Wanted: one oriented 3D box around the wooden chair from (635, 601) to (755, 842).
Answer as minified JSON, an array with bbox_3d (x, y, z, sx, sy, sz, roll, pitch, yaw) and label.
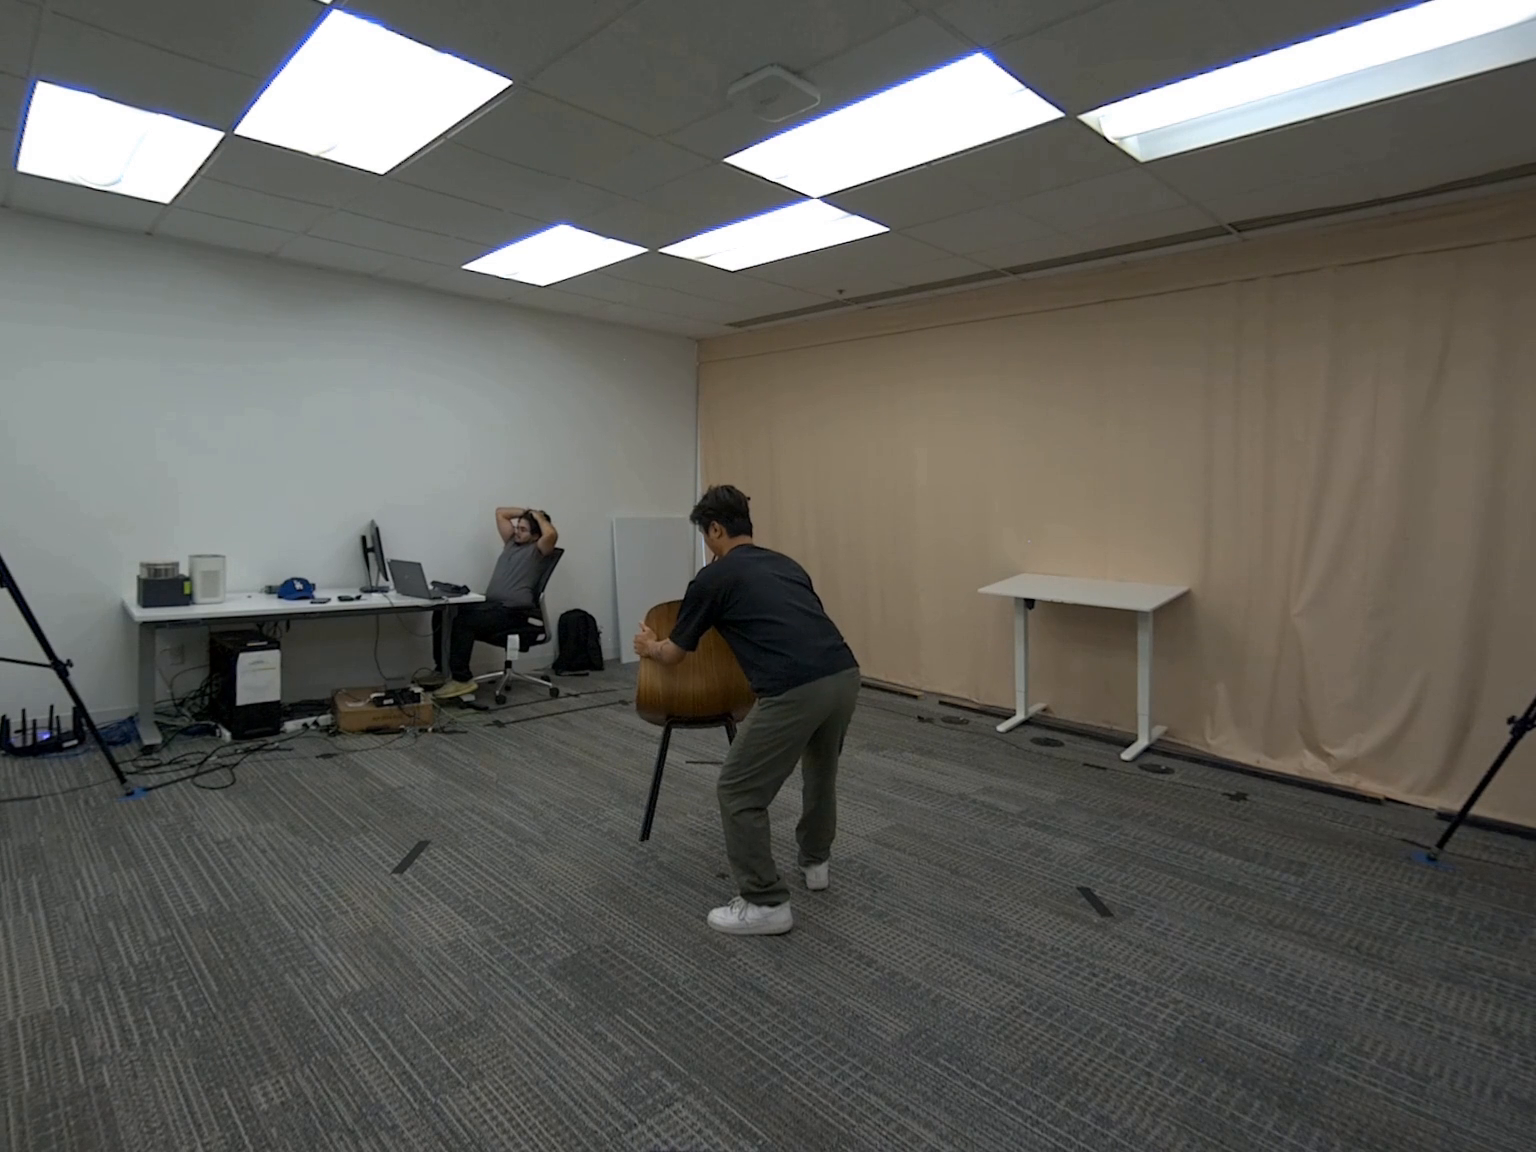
[{"bbox_3d":[-0.278,0.564,3.252,0.476,0.886,0.520,-2,-13,-5],"label":"wooden chair"}]
